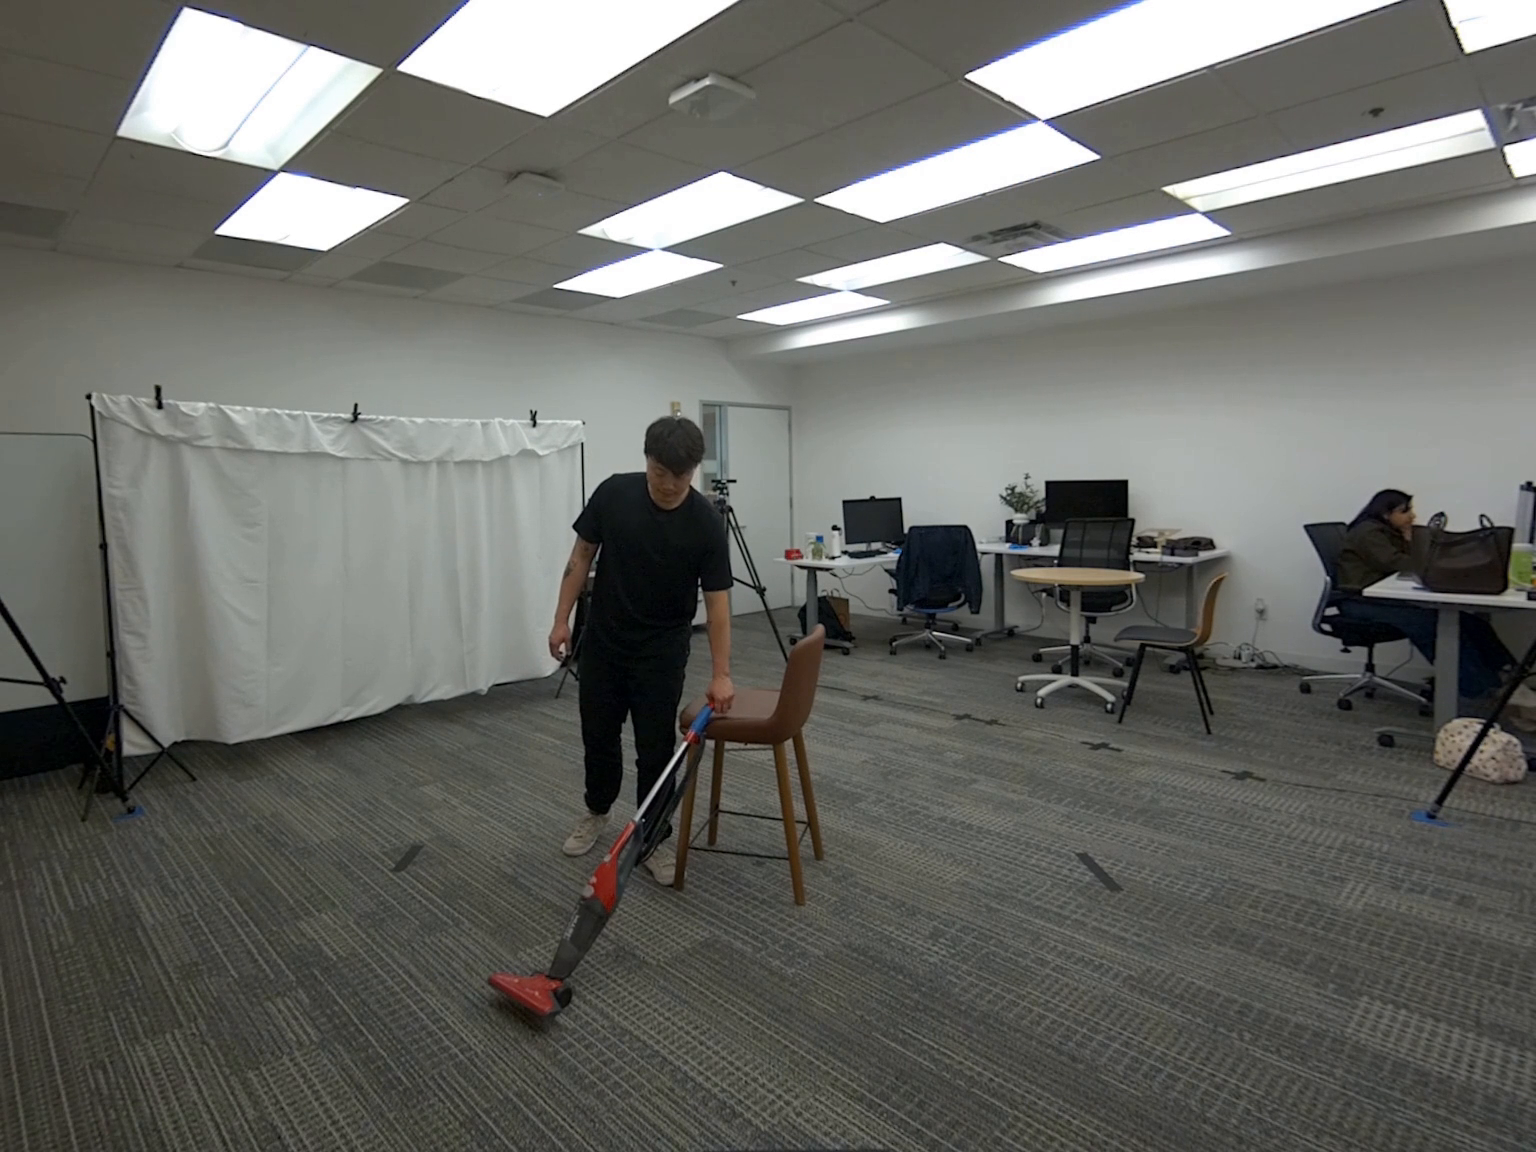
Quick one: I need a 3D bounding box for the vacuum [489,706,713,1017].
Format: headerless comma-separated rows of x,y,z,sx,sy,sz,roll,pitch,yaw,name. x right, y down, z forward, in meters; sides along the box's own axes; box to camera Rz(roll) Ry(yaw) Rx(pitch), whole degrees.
-0.380,0.775,2.576,0.260,0.139,1.054,5,46,35,vacuum
